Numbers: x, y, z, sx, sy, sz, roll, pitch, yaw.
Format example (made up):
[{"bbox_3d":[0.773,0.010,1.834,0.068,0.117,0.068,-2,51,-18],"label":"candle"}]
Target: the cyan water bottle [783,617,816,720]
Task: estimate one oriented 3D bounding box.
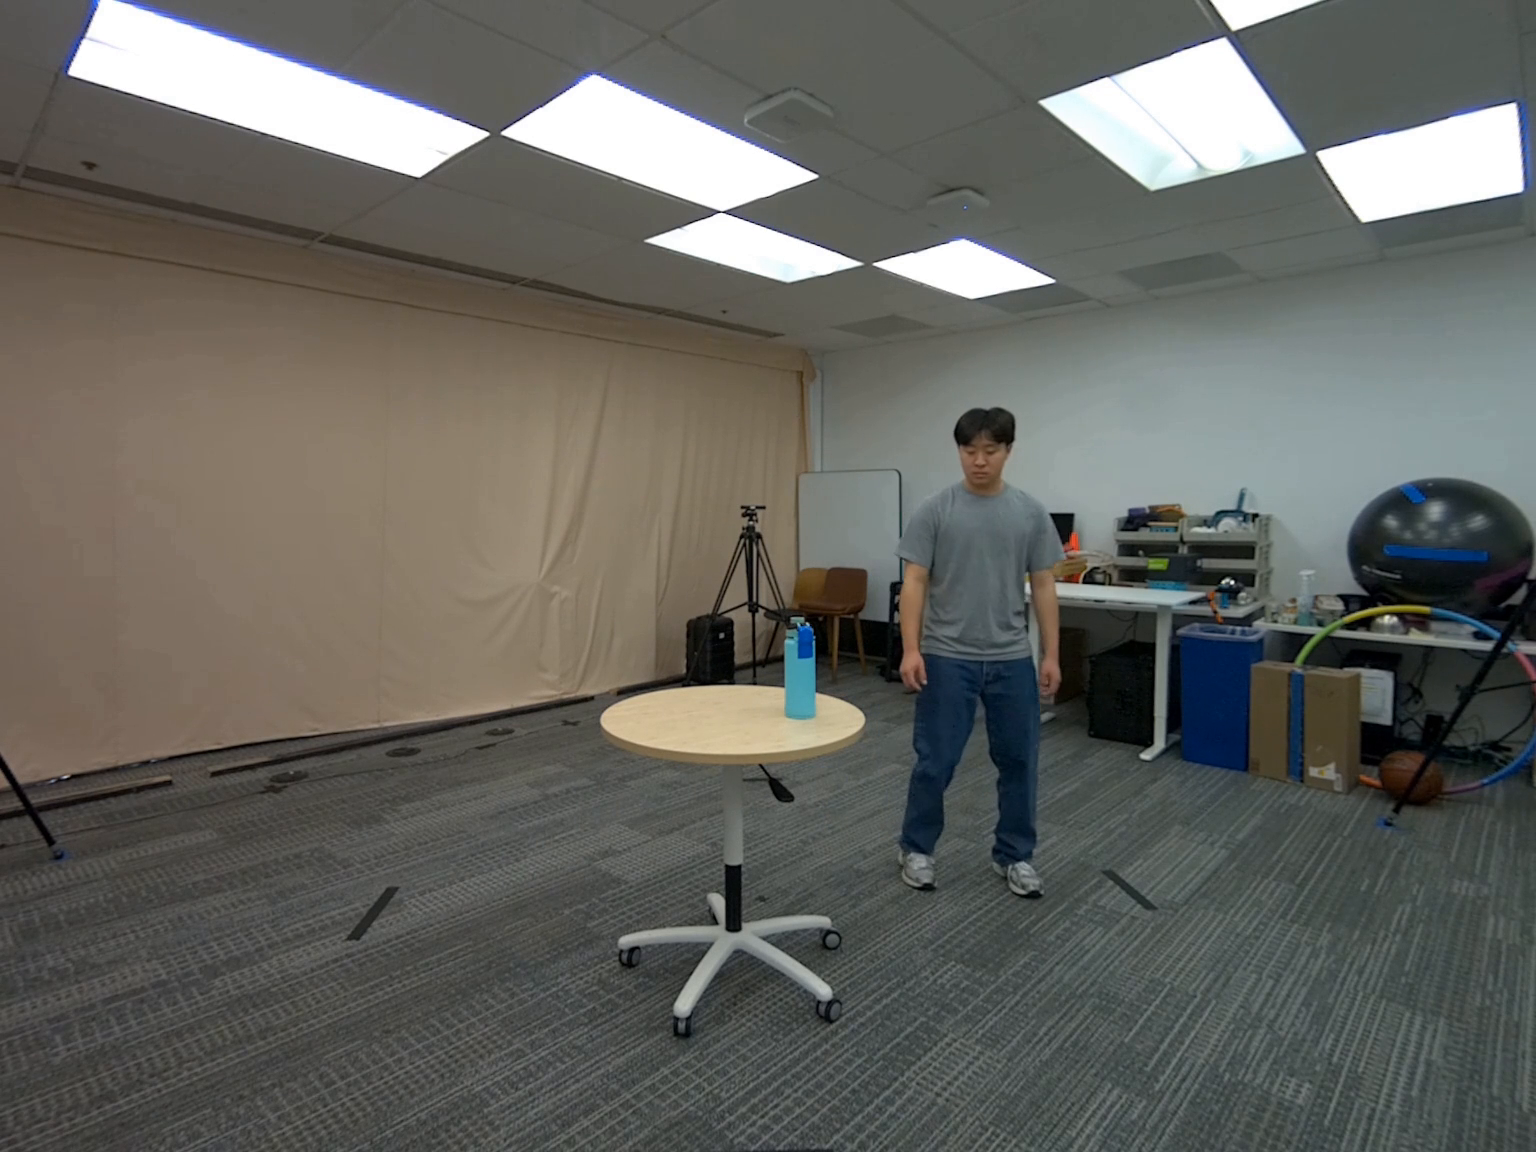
[{"bbox_3d":[0.102,0.268,2.427,0.092,0.283,0.093,1,4,-2],"label":"cyan water bottle"}]
